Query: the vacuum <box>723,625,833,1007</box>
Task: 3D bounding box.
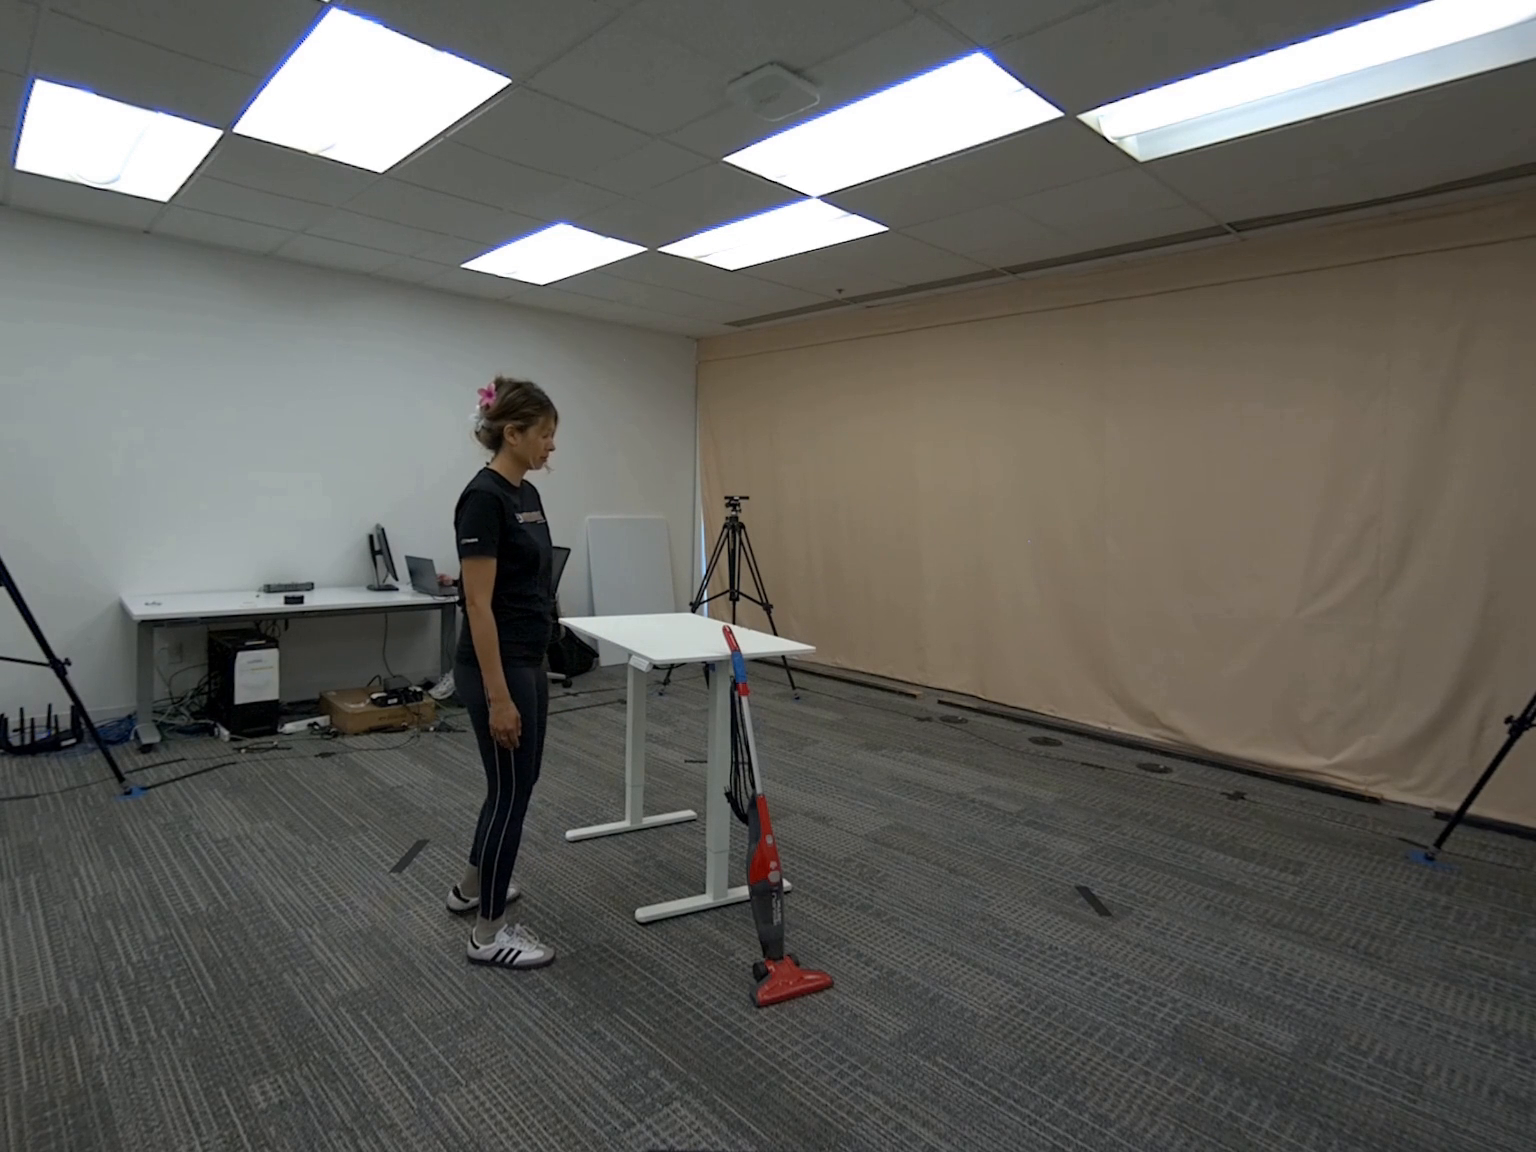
[{"bbox_3d":[-0.054,0.679,2.576,0.246,1.065,0.145,3,-22,-38],"label":"vacuum"}]
